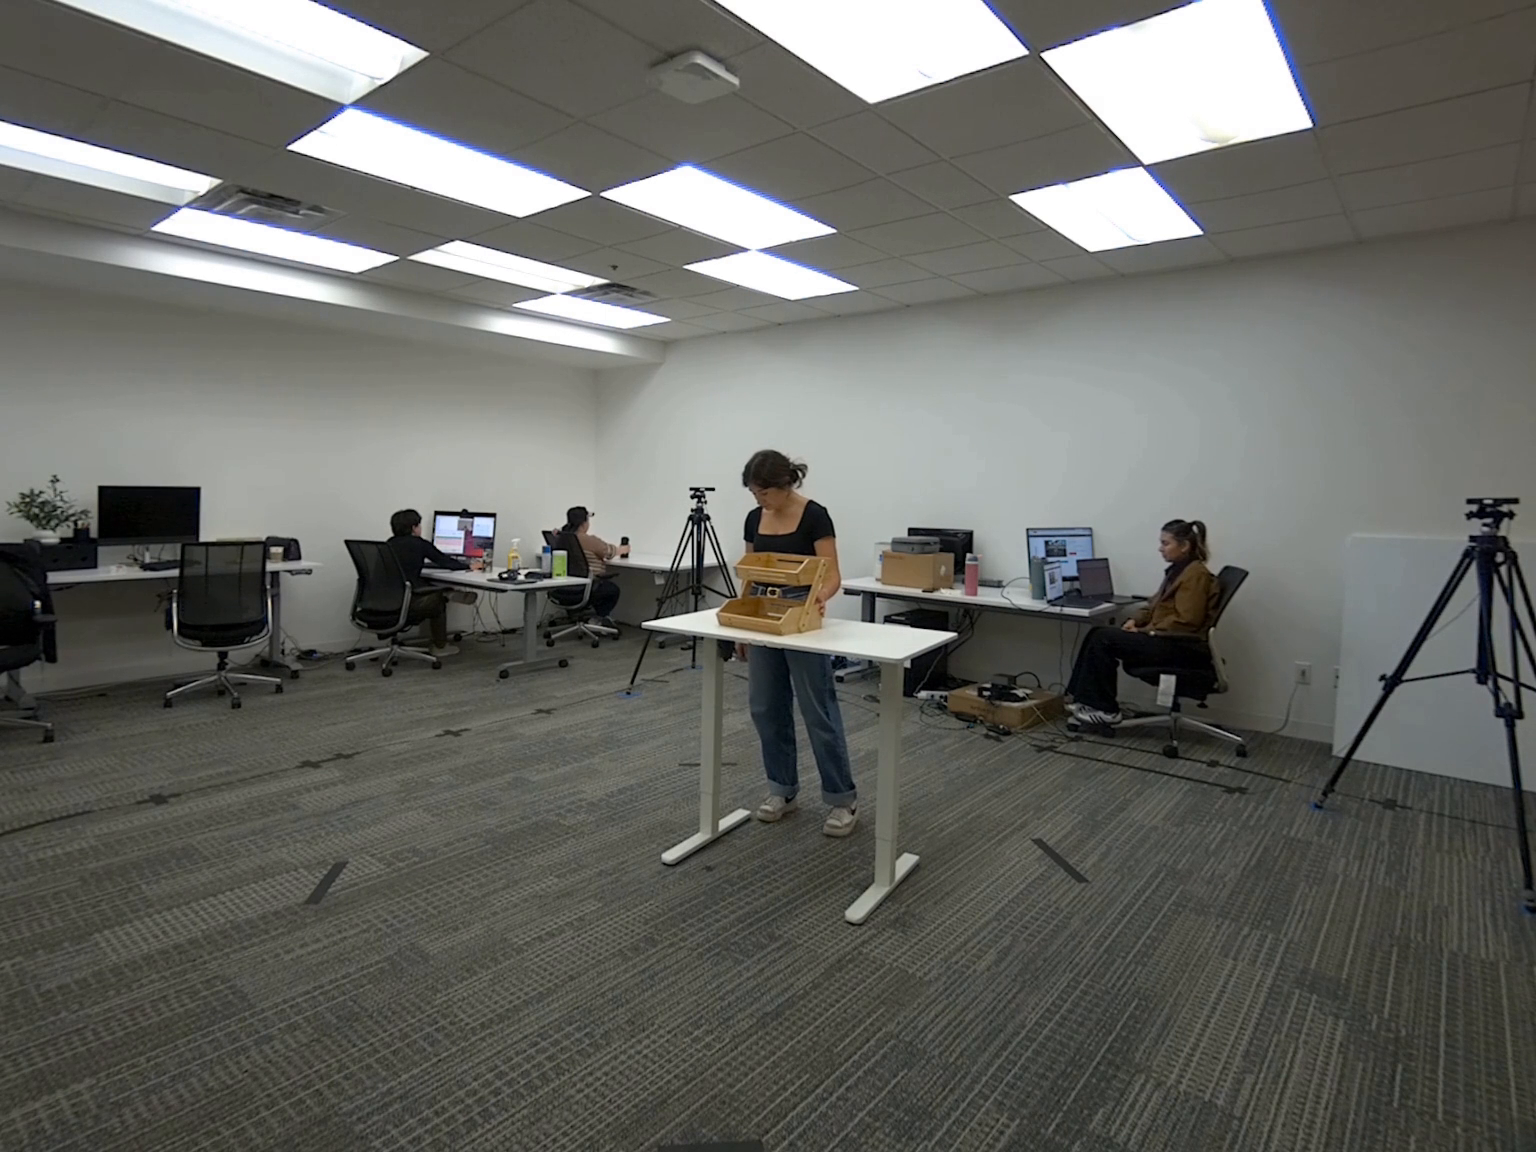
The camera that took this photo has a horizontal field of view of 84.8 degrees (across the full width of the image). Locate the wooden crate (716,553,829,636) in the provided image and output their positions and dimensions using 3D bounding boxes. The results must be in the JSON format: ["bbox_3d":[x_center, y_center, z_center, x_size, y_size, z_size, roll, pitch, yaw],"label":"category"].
[{"bbox_3d":[0.013,0.051,3.150,0.335,0.272,0.293,6,5,40],"label":"wooden crate"}]
